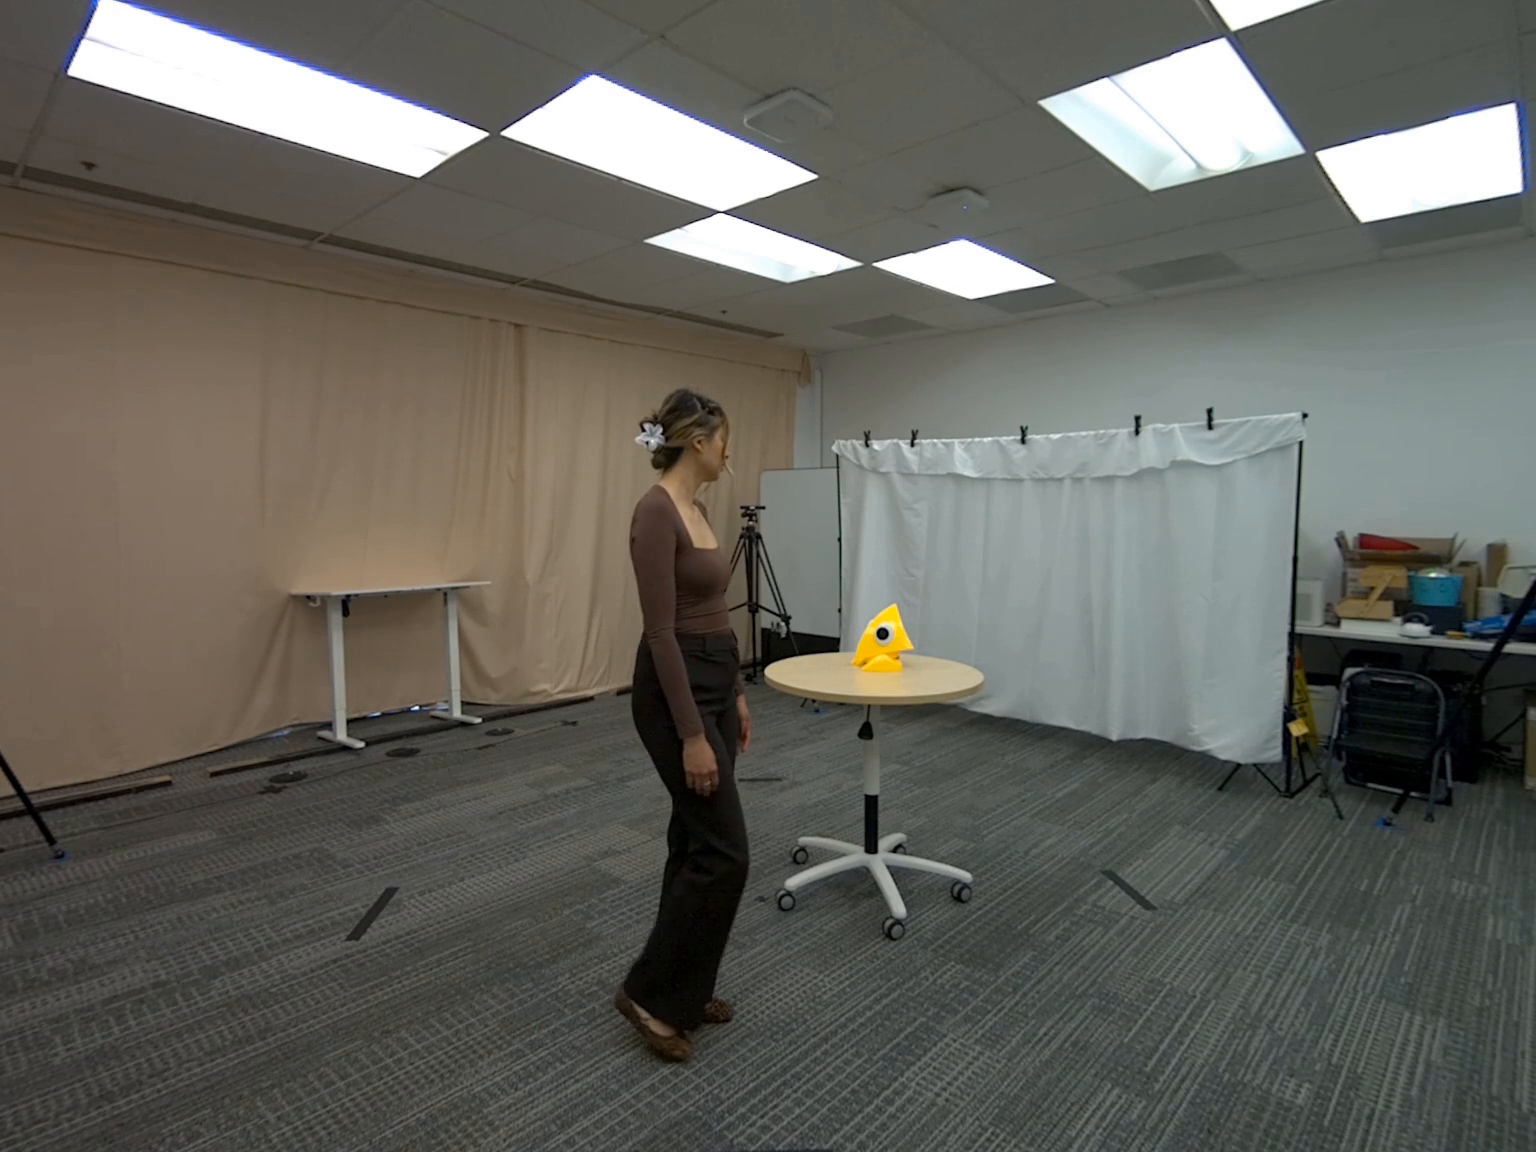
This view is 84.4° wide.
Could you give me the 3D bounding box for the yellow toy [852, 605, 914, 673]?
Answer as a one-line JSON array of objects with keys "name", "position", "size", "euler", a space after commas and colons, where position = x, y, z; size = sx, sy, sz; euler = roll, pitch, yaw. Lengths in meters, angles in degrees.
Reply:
[{"name": "yellow toy", "position": [0.417, 0.219, 3.099], "size": [0.191, 0.230, 0.207], "euler": [0, 3, -11]}]
